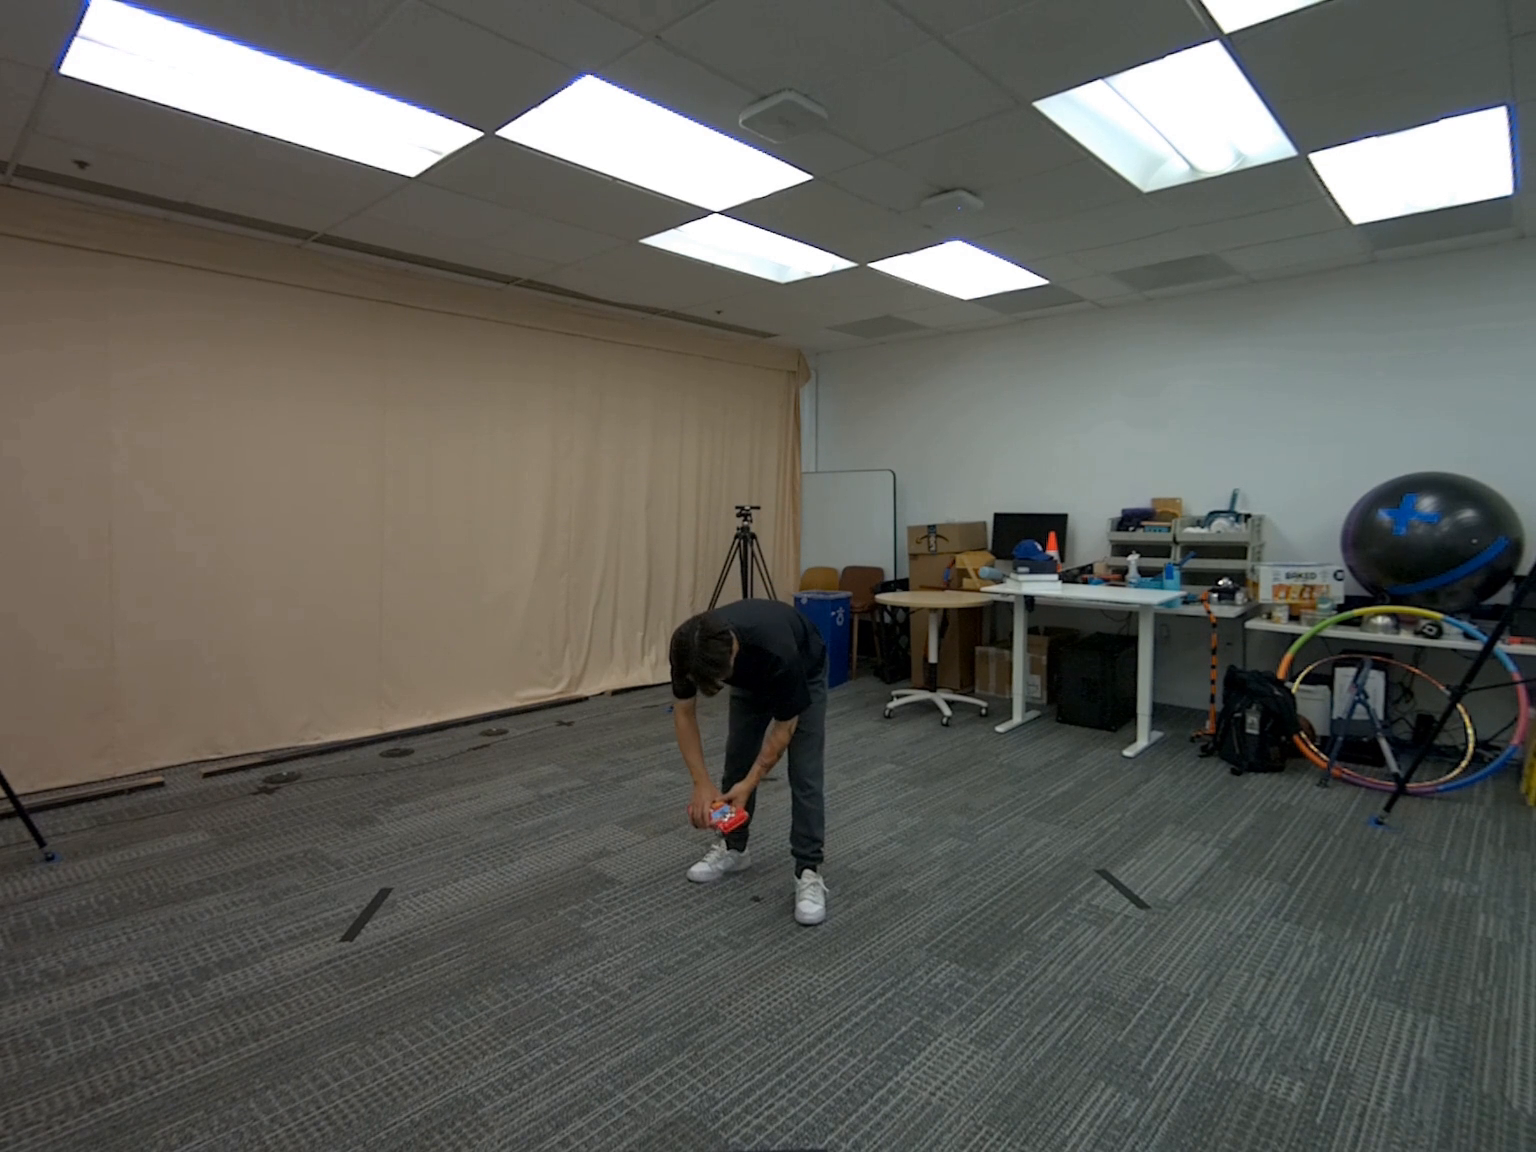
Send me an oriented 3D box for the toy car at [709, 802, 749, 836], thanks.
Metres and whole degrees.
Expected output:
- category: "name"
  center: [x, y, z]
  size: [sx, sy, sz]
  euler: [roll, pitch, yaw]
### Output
- category: "toy car"
  center: [-0.180, 0.808, 2.828]
  size: [0.127, 0.082, 0.263]
  euler: [-22, 20, -33]
